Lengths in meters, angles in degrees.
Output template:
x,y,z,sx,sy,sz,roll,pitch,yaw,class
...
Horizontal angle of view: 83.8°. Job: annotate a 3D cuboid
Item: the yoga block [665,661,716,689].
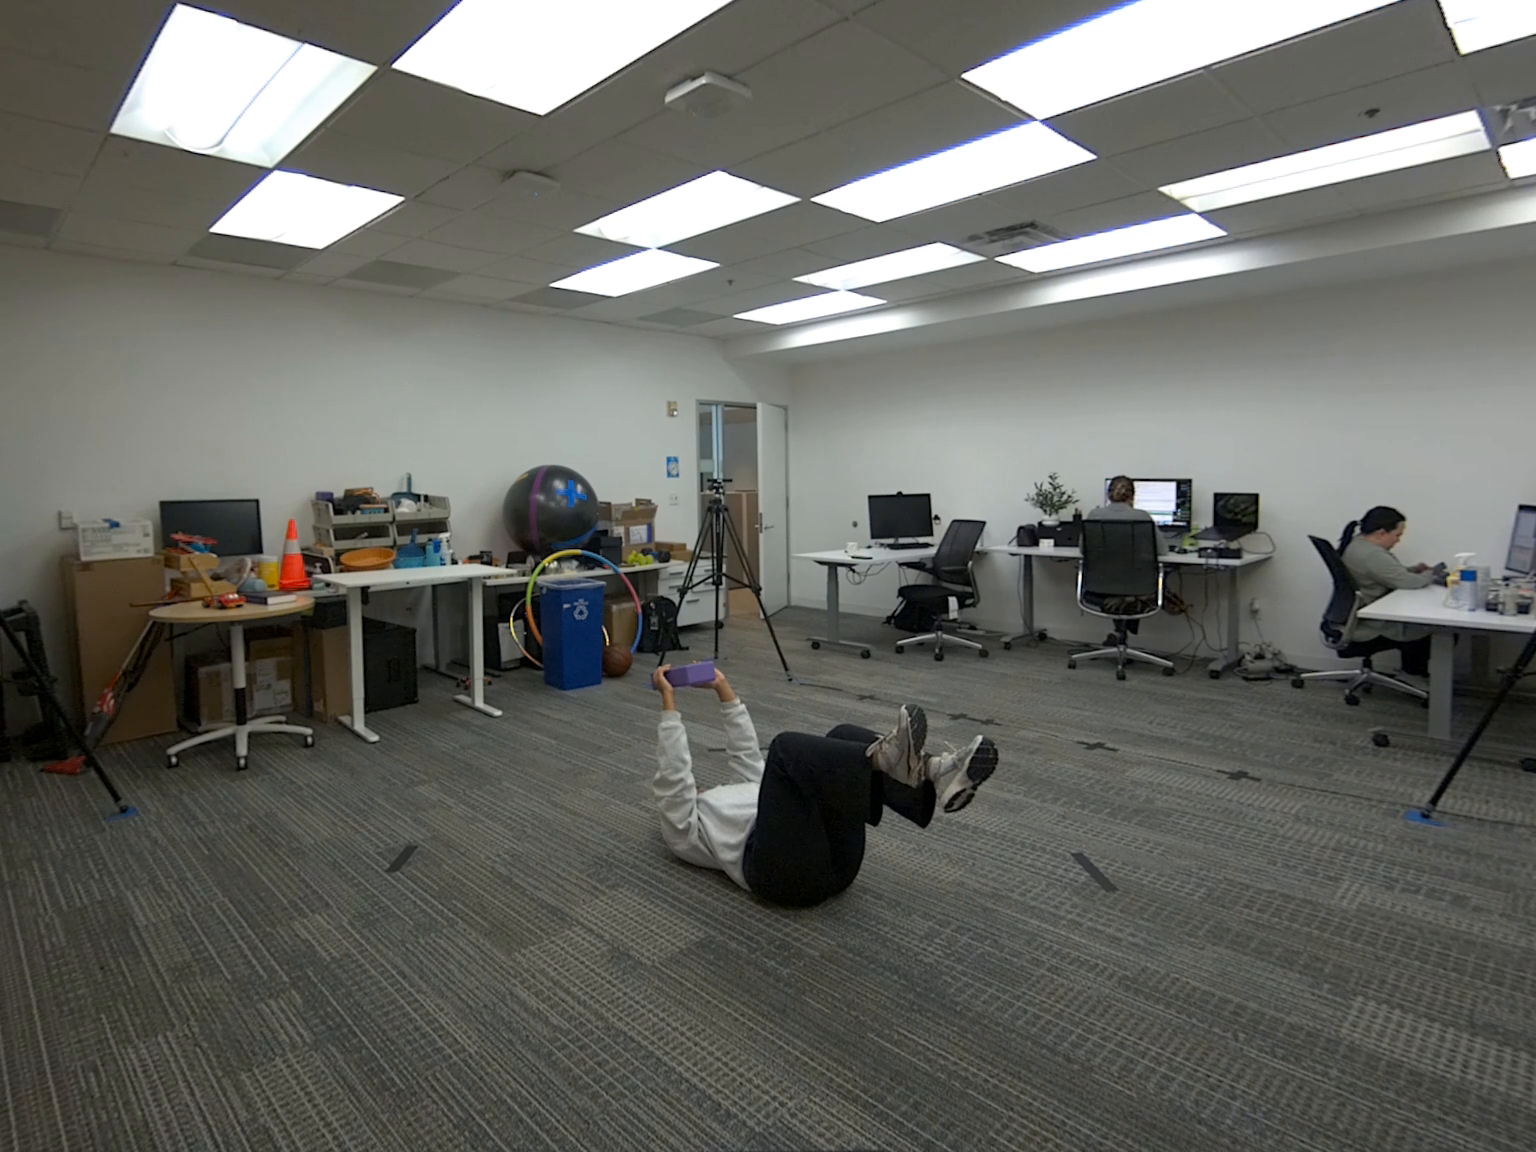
x,y,z,sx,sy,sz,roll,pitch,yaw,class
-0.335,0.385,3.297,0.234,0.077,0.145,-13,-8,41,yoga block
